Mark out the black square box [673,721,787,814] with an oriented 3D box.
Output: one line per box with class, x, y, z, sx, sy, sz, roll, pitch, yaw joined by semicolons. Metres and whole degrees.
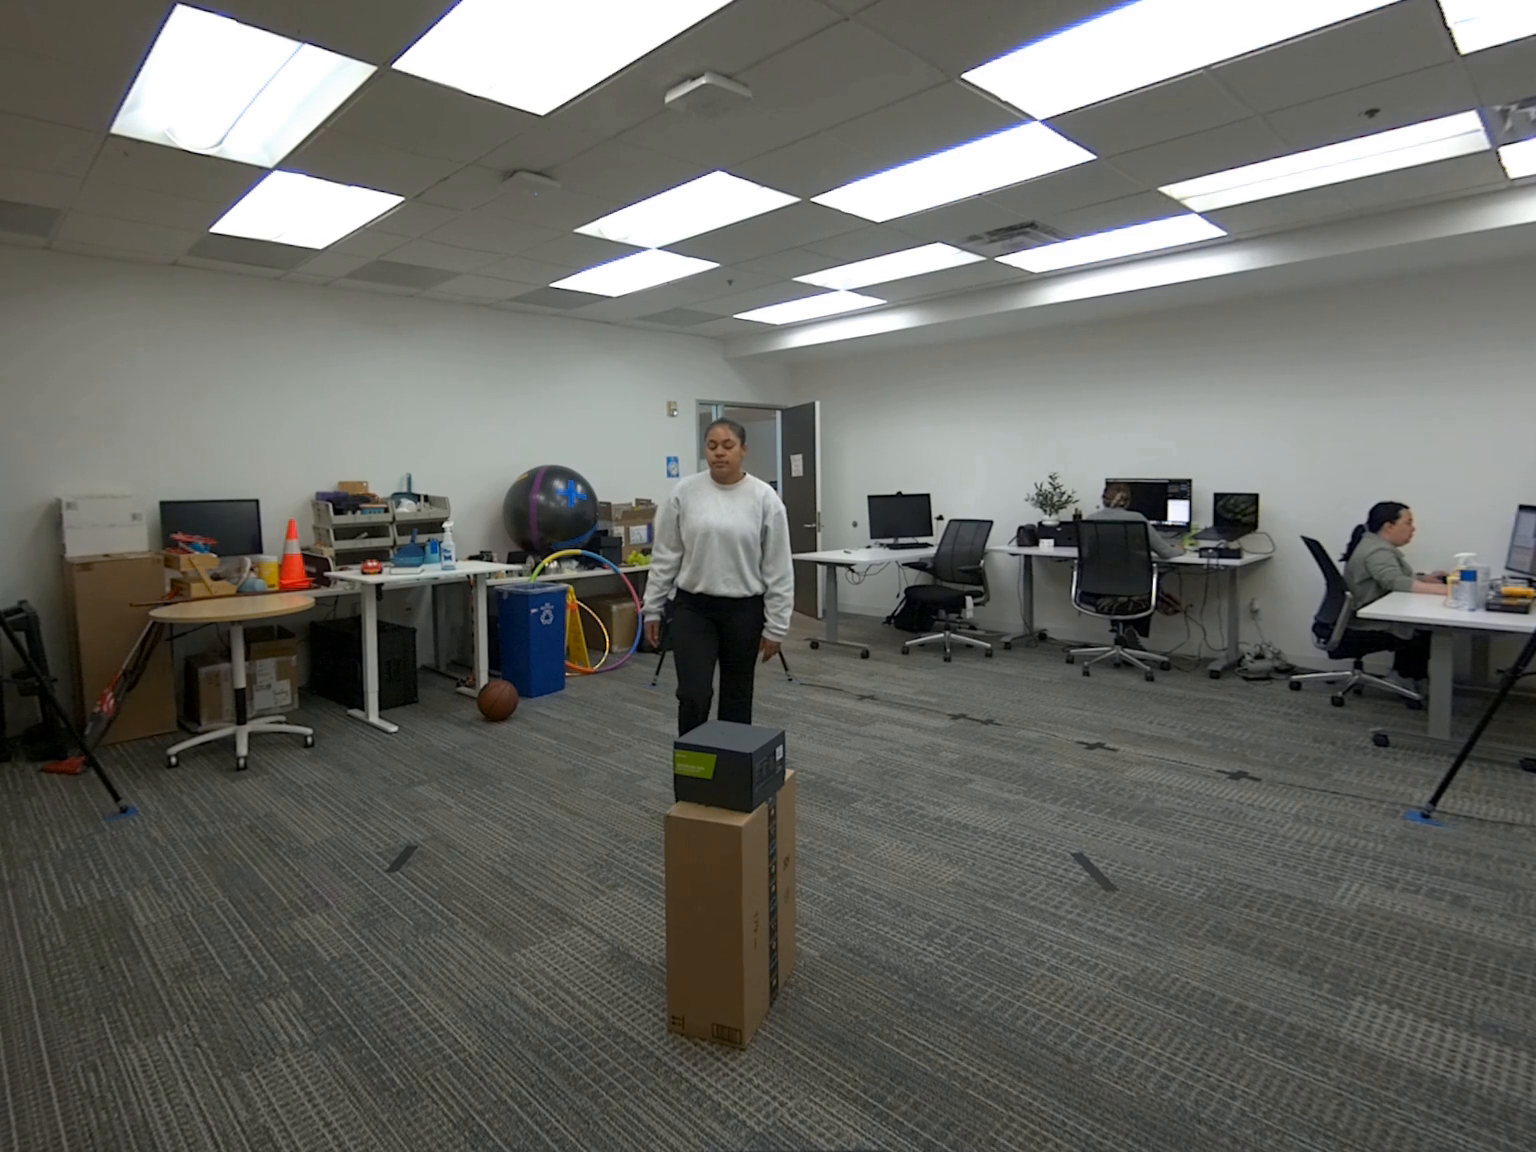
black square box;-0.103;0.500;2.276;0.233;0.155;0.213;2;7;25
